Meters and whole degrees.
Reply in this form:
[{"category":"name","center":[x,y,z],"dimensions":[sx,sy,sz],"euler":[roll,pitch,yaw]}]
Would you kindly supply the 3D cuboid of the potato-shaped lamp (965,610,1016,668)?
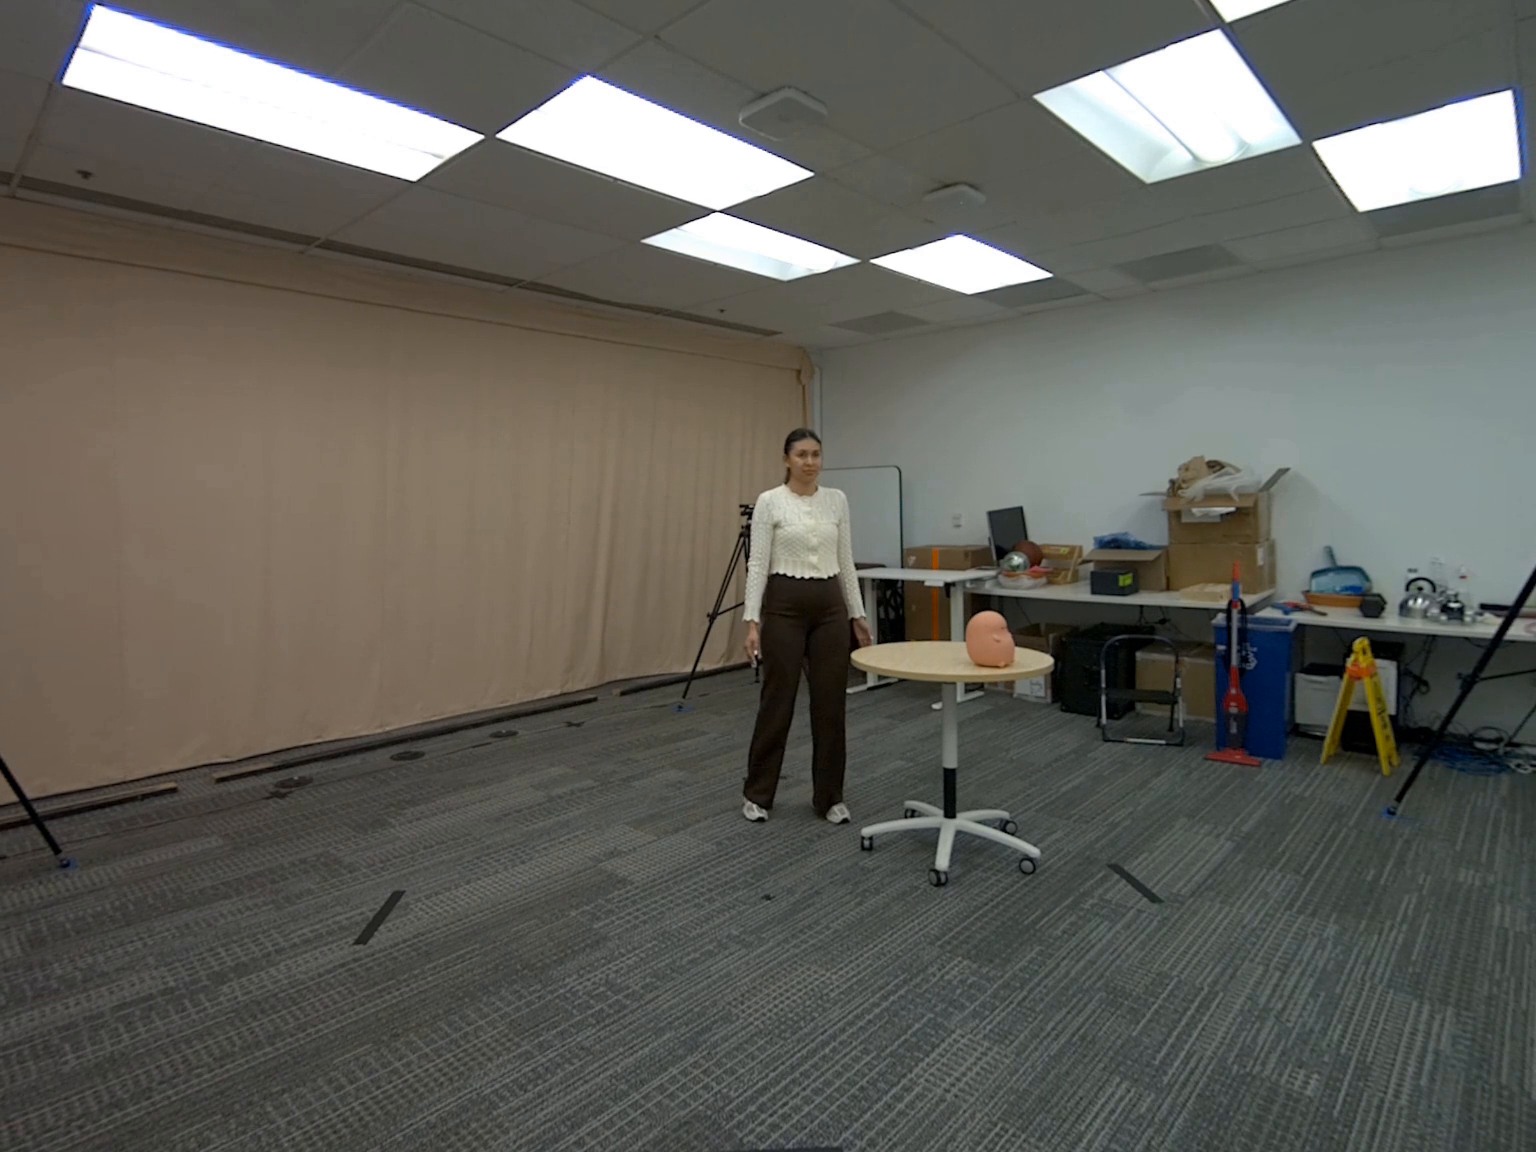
[{"category":"potato-shaped lamp","center":[0.831,0.231,3.108],"dimensions":[0.176,0.198,0.160],"euler":[0,3,33]}]
